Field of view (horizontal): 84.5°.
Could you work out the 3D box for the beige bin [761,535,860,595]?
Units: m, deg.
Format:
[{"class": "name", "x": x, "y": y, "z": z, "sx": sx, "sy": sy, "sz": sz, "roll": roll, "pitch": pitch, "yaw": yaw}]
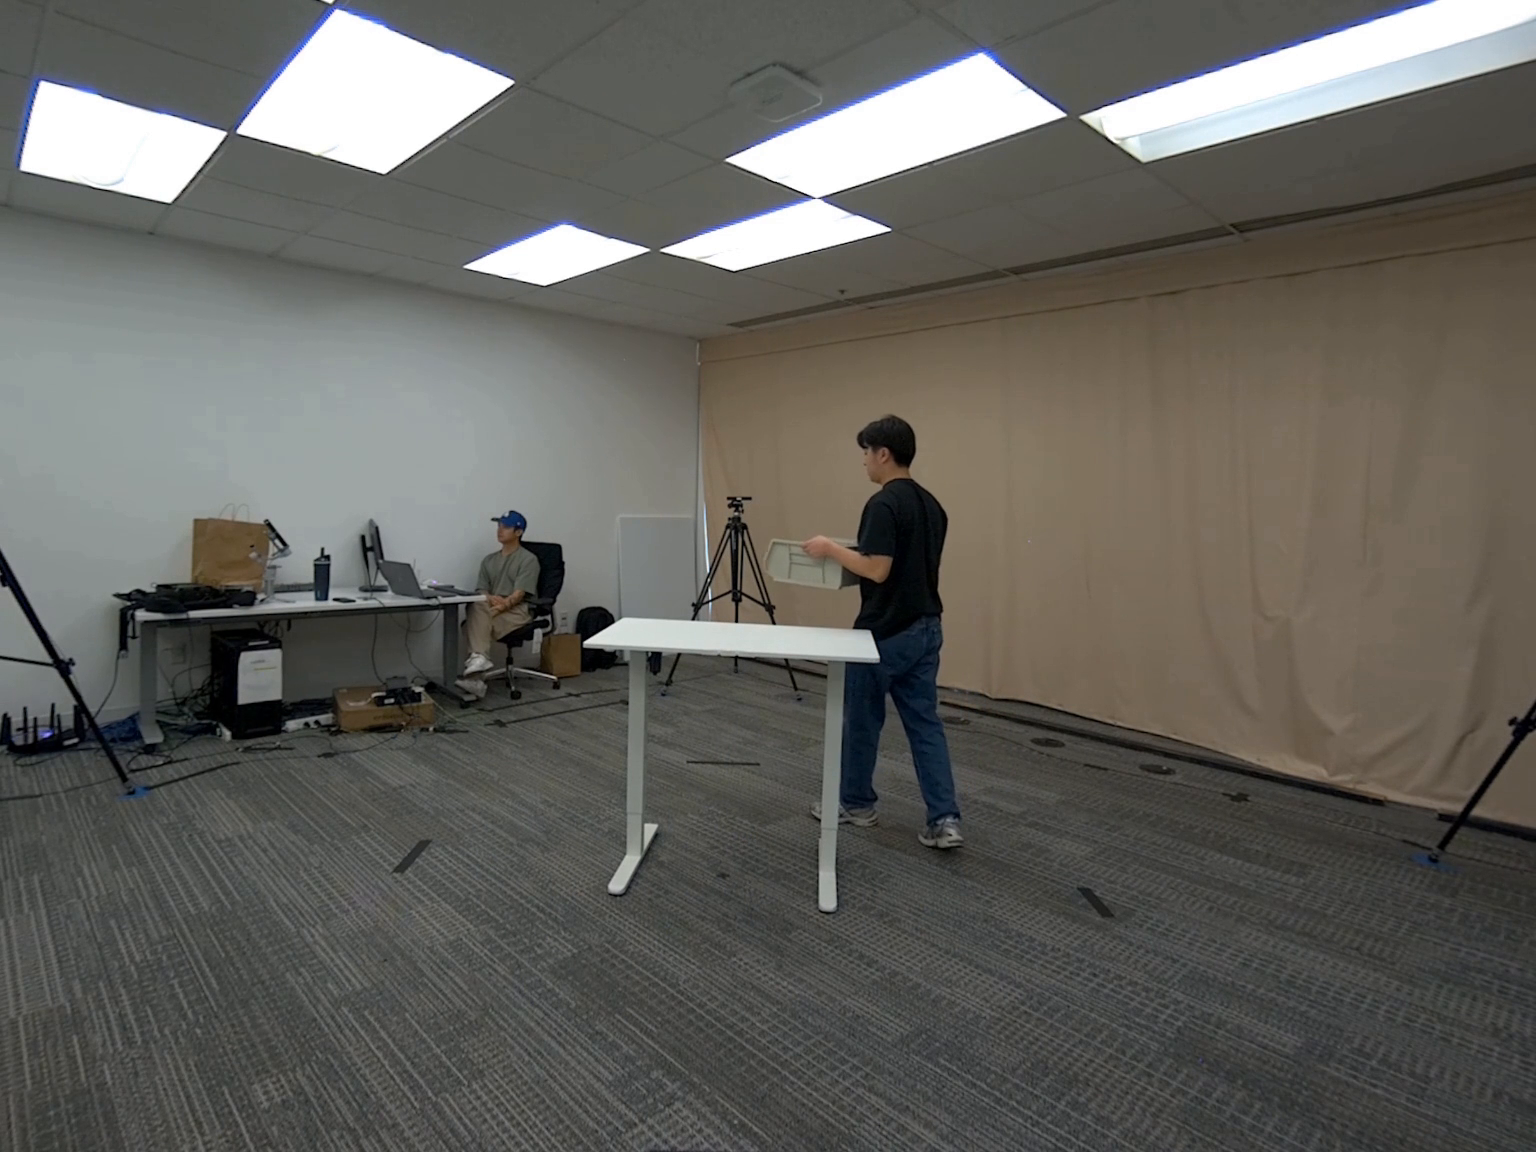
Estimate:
[{"class": "beige bin", "x": 0.250, "y": -0.061, "z": 3.696, "sx": 0.387, "sy": 0.188, "sz": 0.414, "roll": 10, "pitch": 8, "yaw": 32}]
